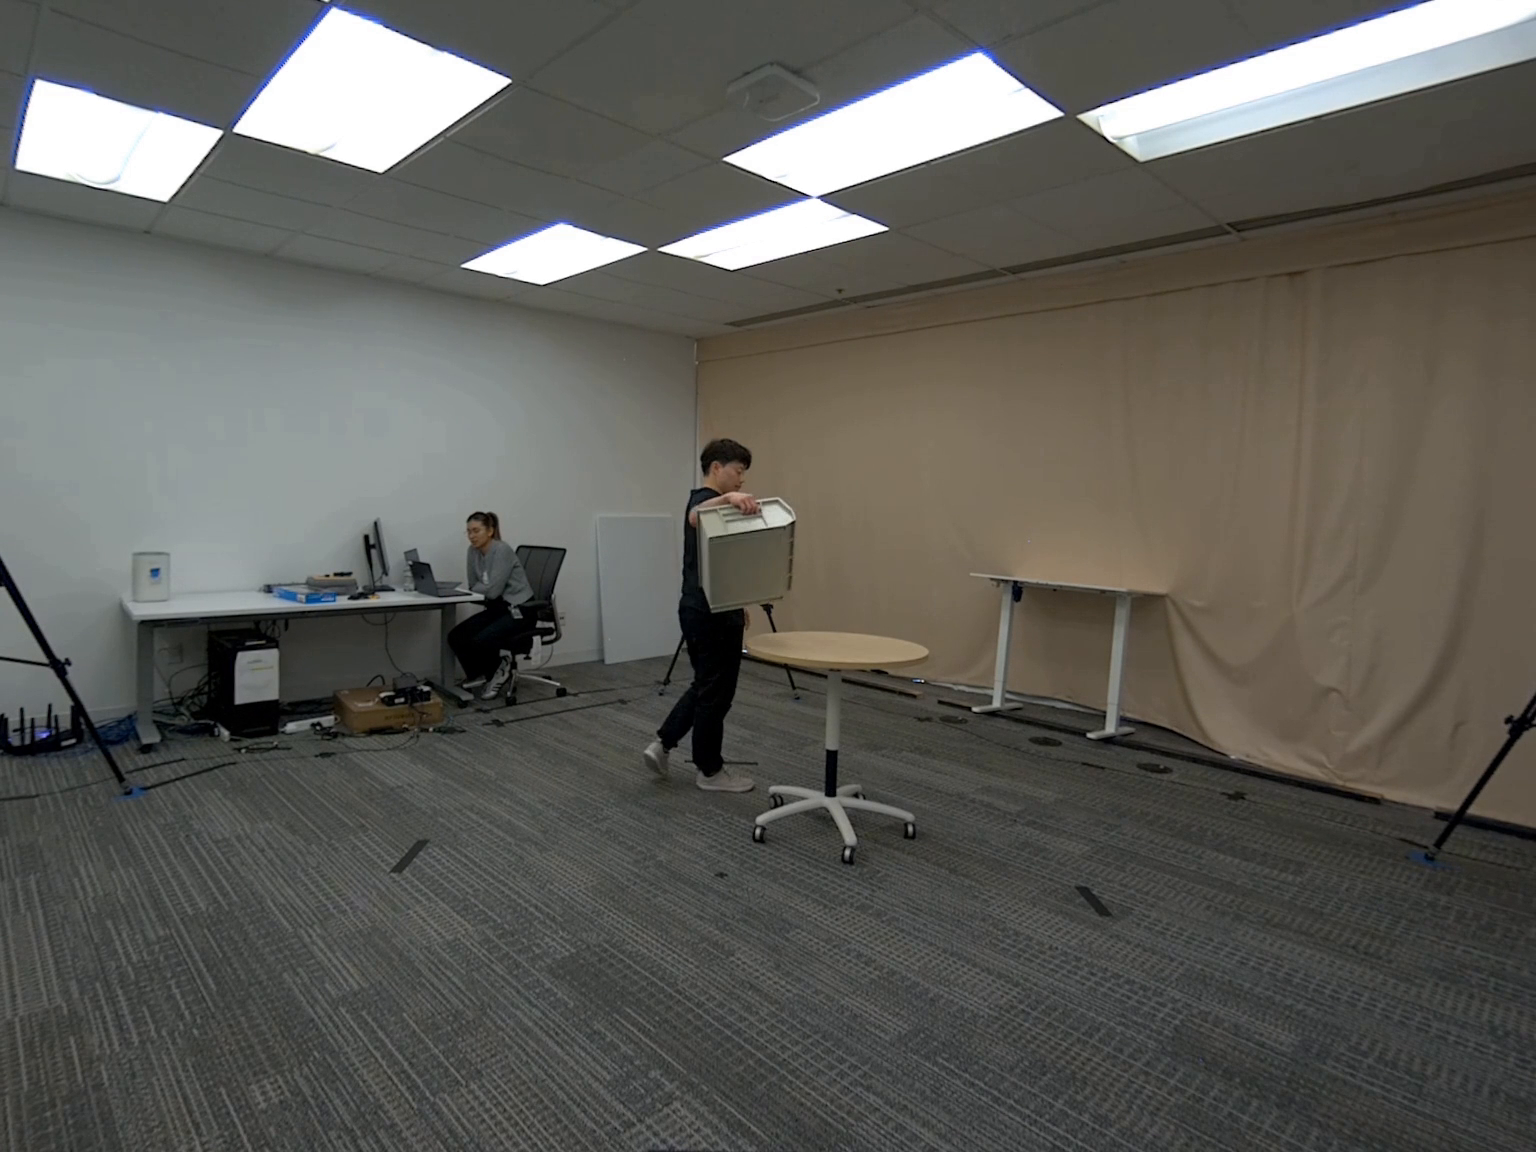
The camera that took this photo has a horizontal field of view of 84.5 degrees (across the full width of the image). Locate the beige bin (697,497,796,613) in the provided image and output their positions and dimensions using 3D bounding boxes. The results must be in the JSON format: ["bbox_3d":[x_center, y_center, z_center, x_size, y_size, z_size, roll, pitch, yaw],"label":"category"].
[{"bbox_3d":[-0.097,-0.081,3.487,0.374,0.413,0.194,-9,44,-12],"label":"beige bin"}]
